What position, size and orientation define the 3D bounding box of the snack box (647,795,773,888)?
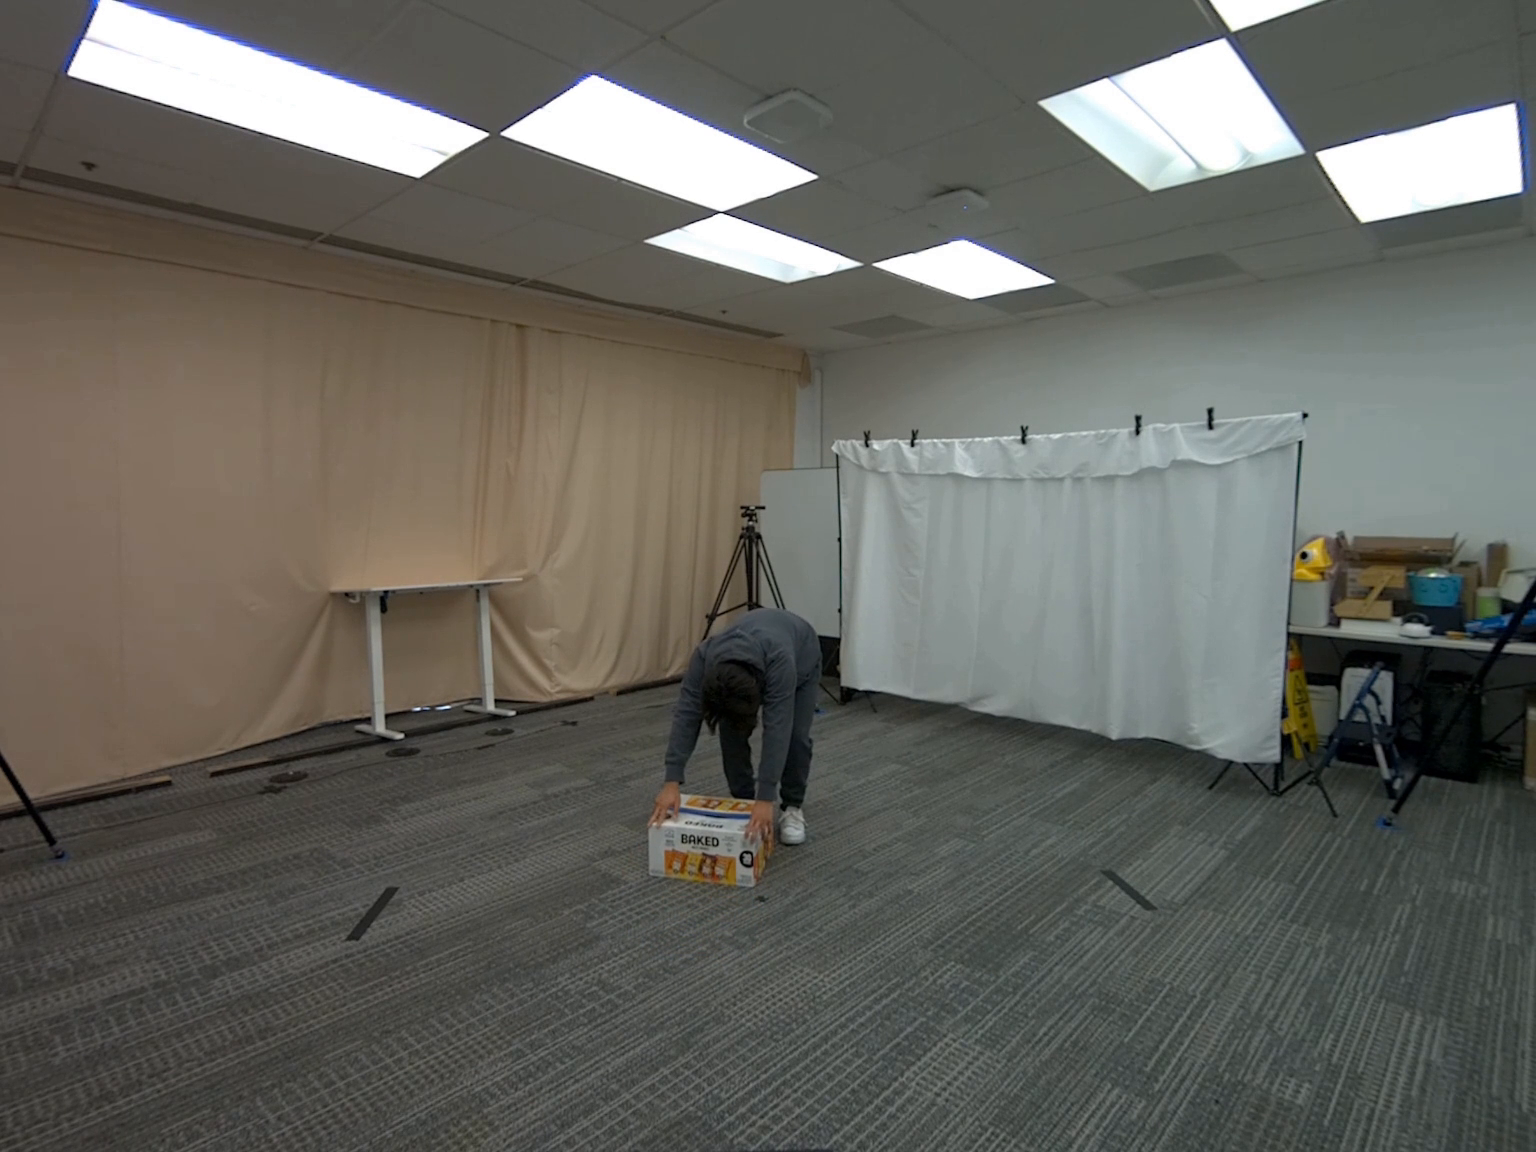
[{"bbox_3d":[-0.212,1.022,3.278,0.412,0.205,0.336,1,4,14],"label":"snack box"}]
